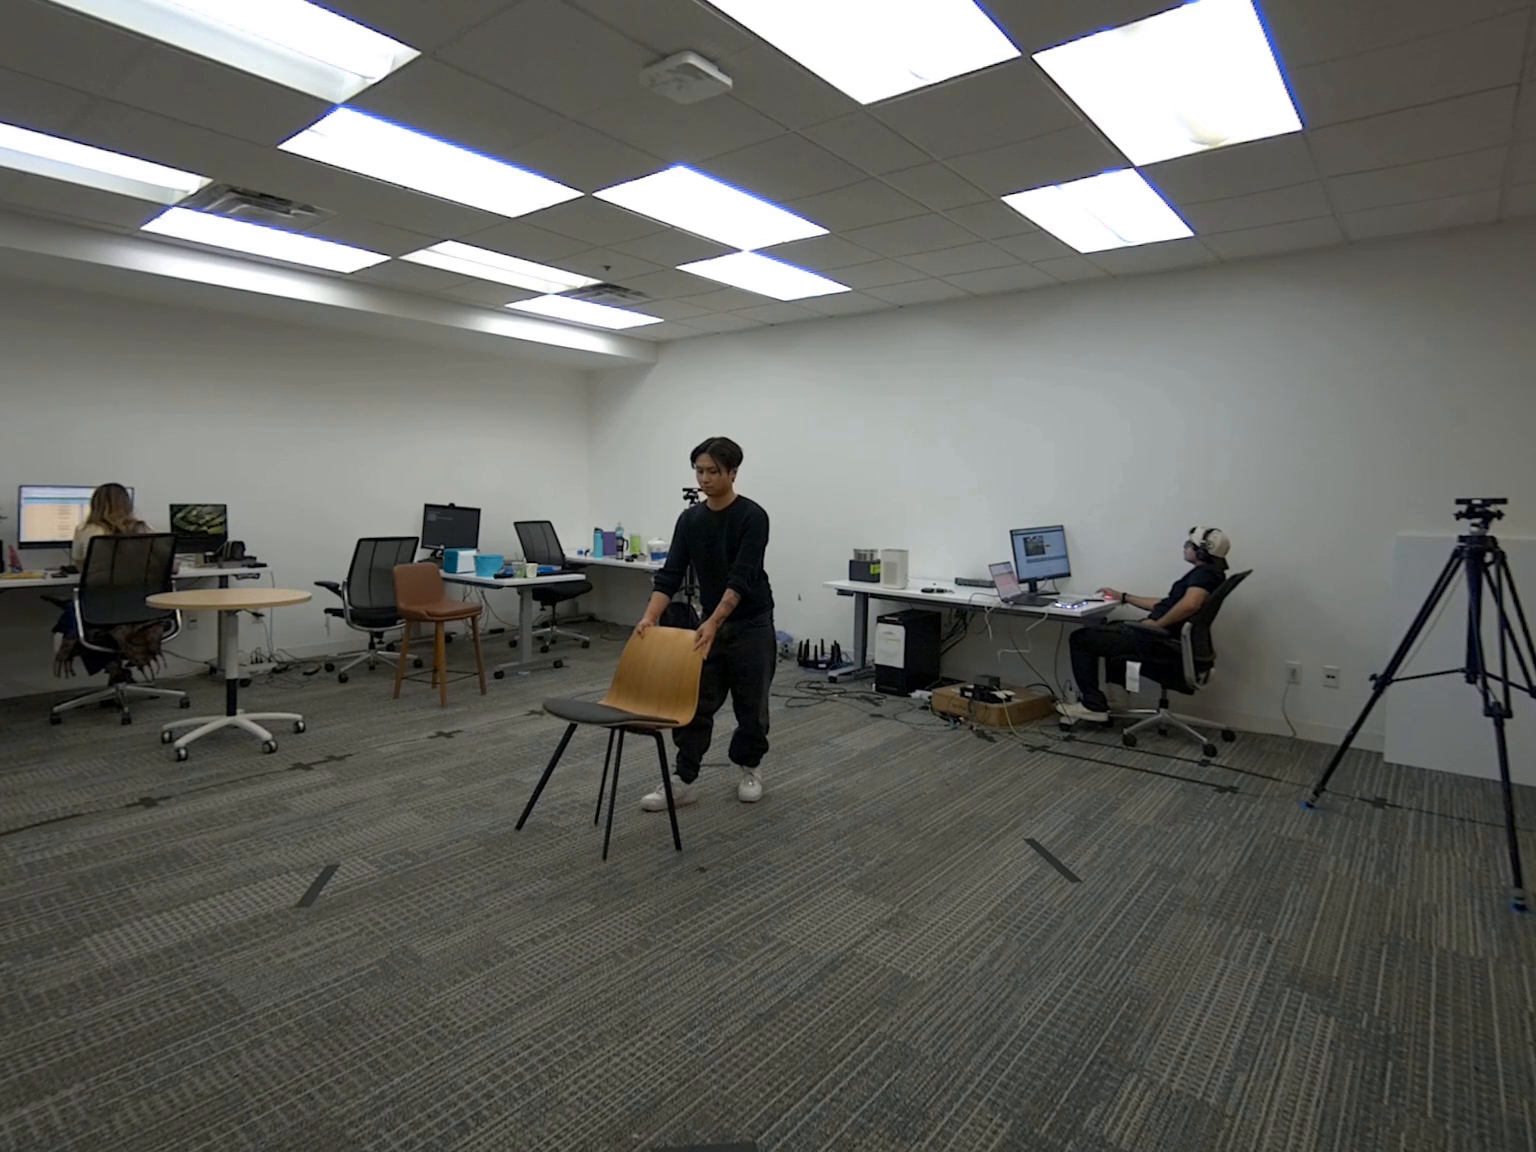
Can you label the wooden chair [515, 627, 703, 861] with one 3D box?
[{"bbox_3d":[-0.589,0.578,3.267,0.493,0.885,0.502,3,-15,34],"label":"wooden chair"}]
